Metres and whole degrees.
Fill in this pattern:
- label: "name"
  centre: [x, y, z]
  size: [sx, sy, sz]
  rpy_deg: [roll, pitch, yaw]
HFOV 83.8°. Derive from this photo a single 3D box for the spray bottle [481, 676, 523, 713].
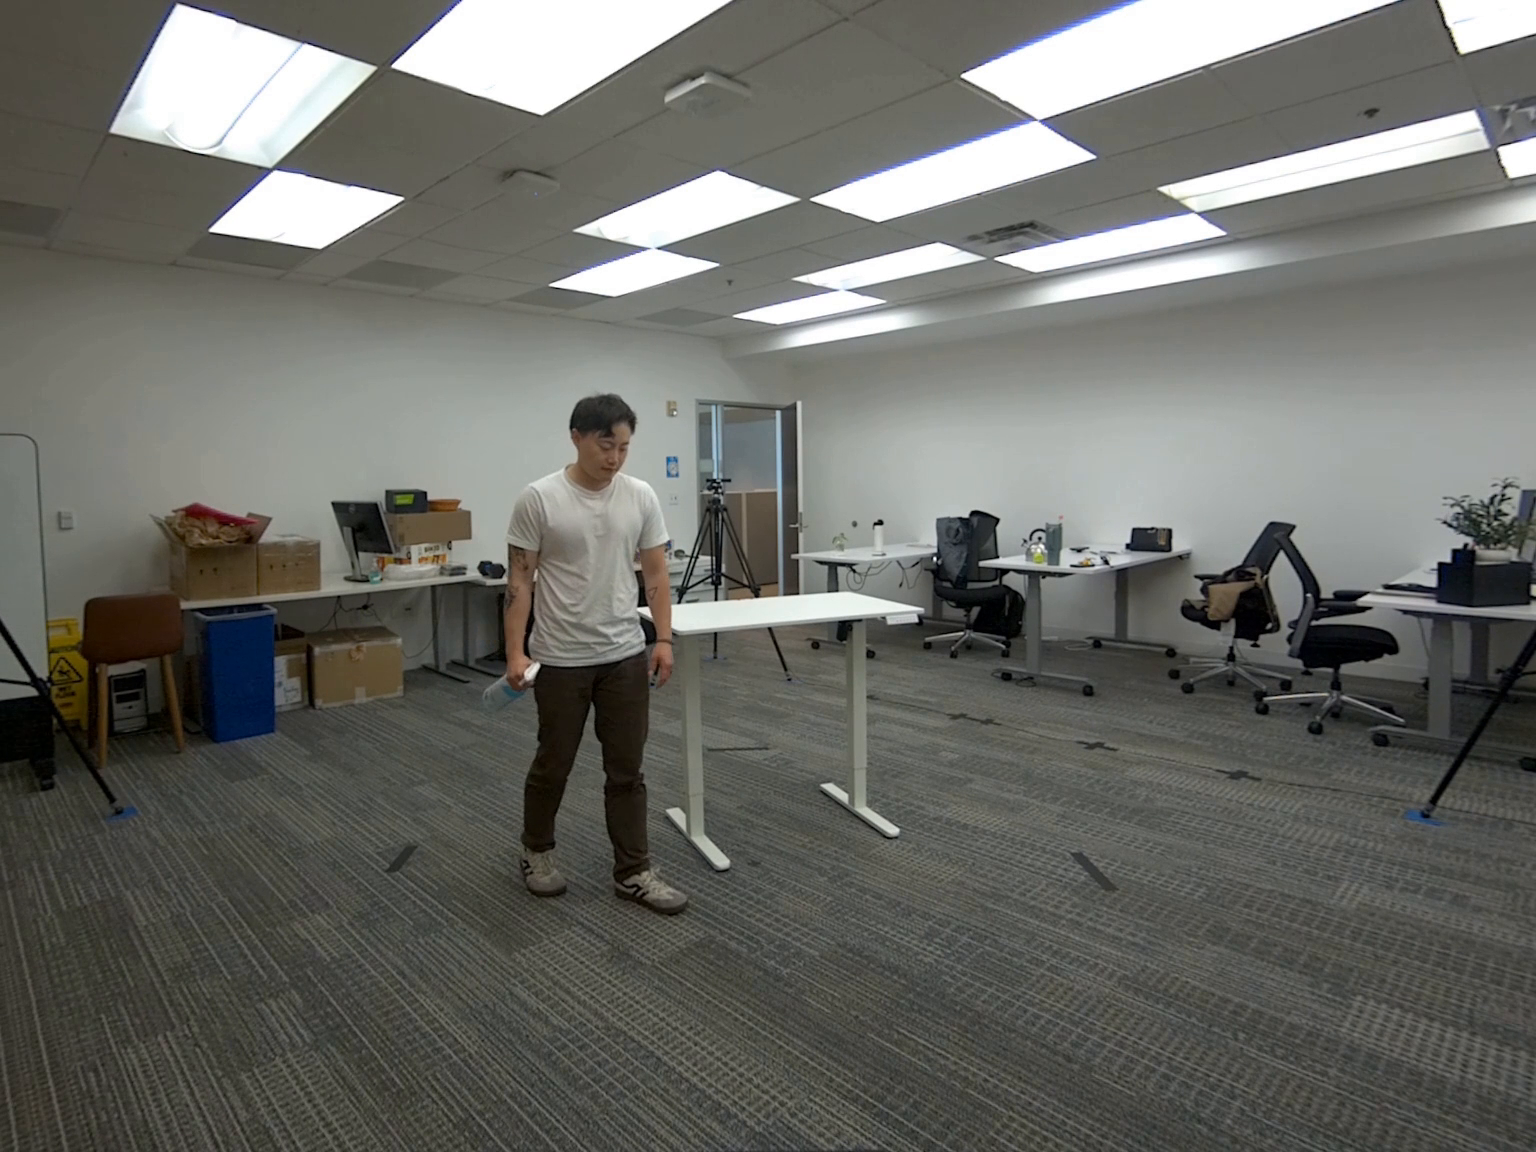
- label: "spray bottle"
  centre: [-0.809, 0.348, 2.714]
  size: [0.088, 0.088, 0.300]
  rpy_deg: [-19, -10, -48]
